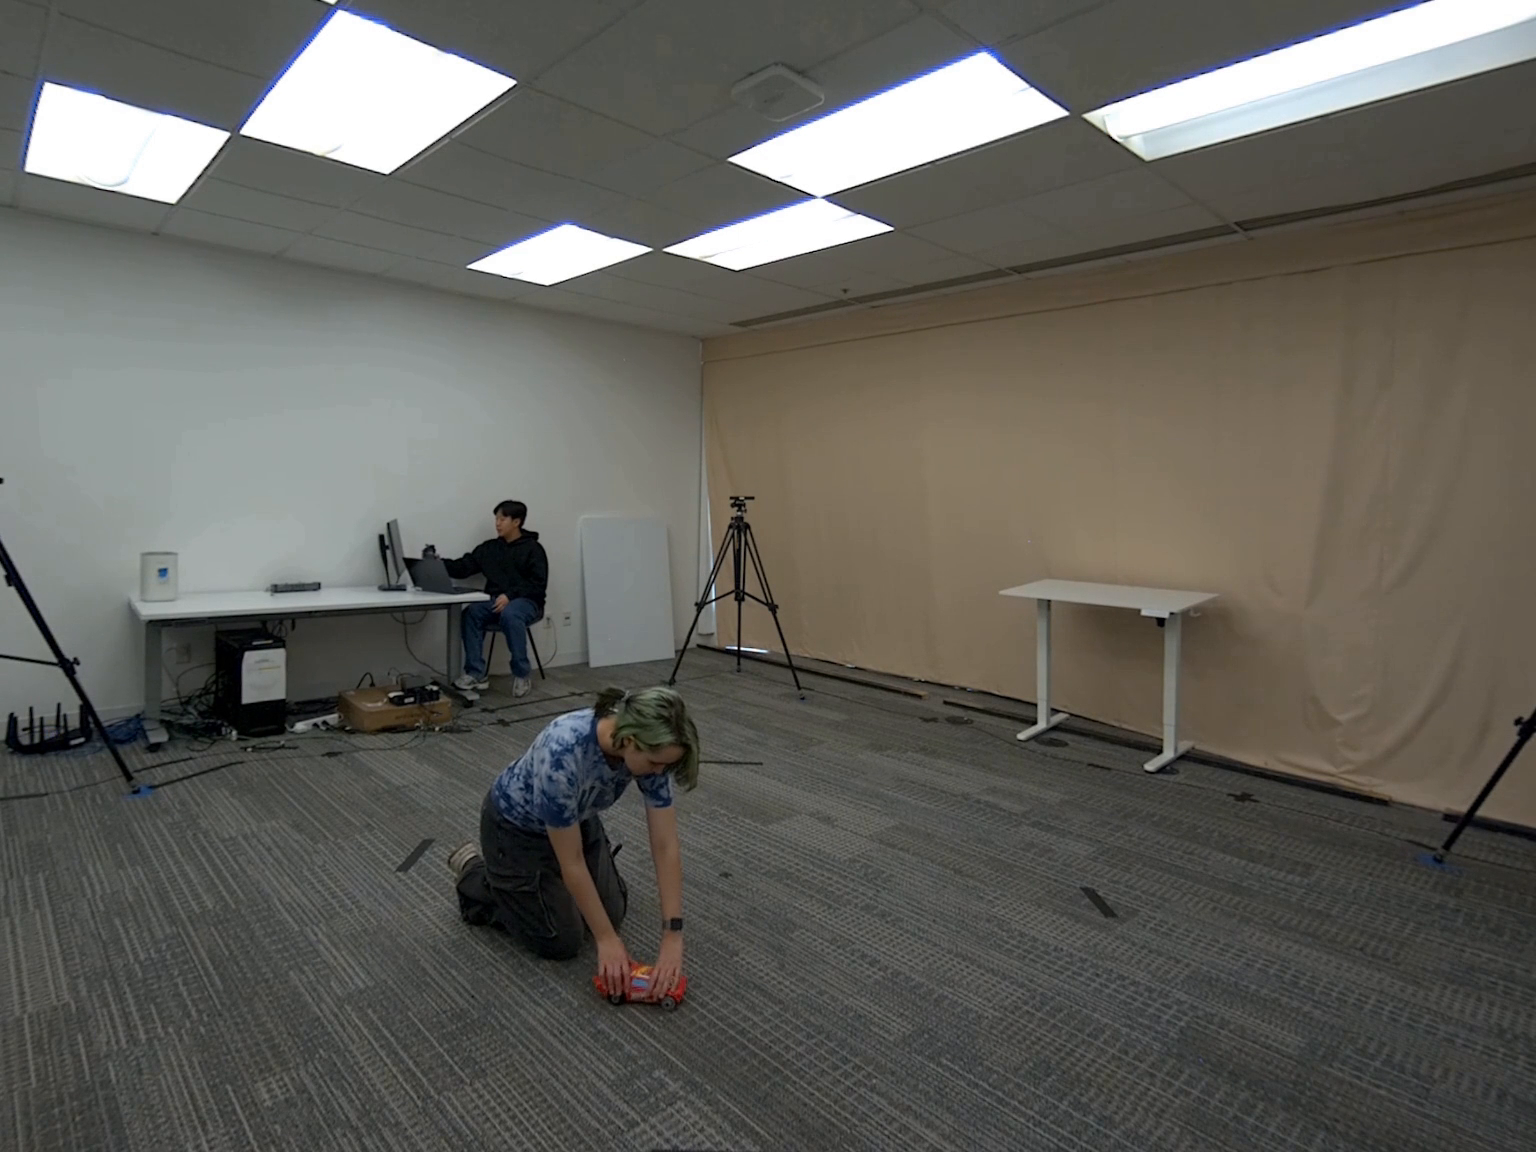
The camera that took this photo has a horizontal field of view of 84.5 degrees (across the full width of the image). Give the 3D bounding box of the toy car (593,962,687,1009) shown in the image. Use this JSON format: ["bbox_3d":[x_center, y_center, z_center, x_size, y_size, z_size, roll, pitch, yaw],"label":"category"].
[{"bbox_3d":[-0.365,1.145,2.327,0.257,0.083,0.130,12,8,9],"label":"toy car"}]
